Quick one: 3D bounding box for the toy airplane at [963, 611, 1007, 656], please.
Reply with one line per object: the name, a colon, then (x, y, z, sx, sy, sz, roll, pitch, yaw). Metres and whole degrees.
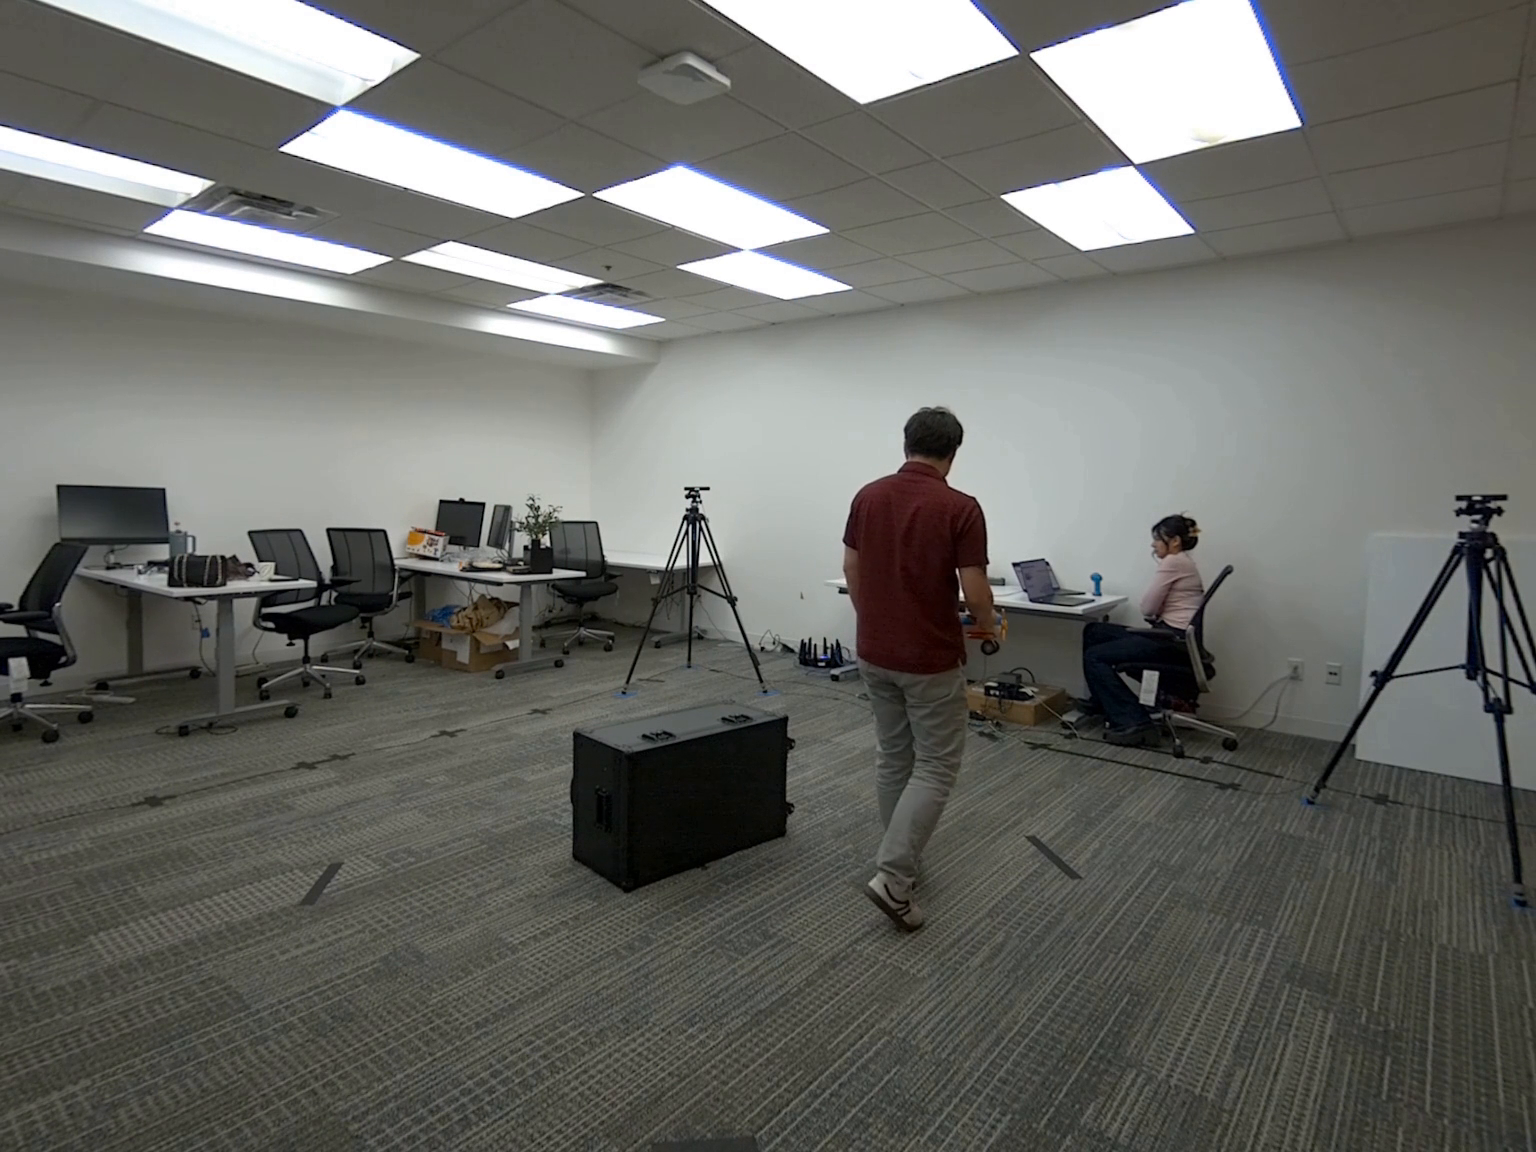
toy airplane: (0.736, 0.191, 3.121, 0.259, 0.156, 0.252, 12, 3, -3)
